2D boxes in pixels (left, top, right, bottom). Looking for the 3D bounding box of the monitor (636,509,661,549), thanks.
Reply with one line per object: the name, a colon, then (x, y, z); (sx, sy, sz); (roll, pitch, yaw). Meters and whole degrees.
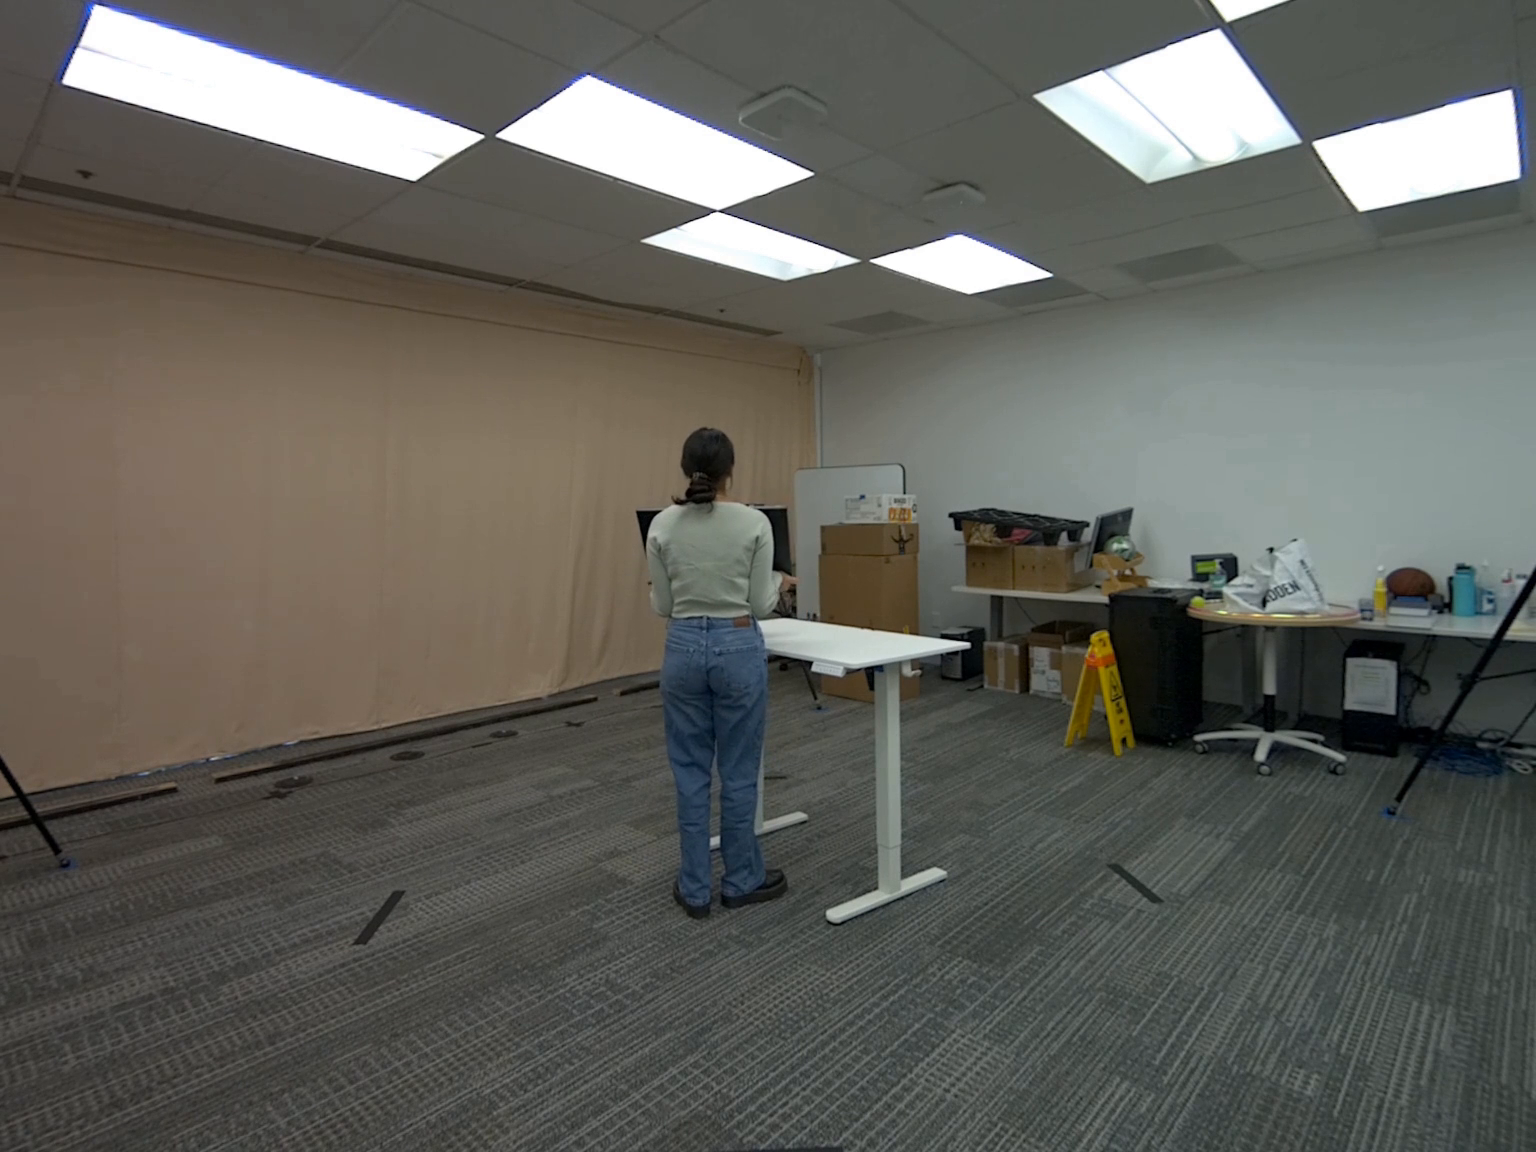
monitor: (-0.182, -0.066, 3.117); (0.544, 0.510, 0.190); (-1, 46, 7)
